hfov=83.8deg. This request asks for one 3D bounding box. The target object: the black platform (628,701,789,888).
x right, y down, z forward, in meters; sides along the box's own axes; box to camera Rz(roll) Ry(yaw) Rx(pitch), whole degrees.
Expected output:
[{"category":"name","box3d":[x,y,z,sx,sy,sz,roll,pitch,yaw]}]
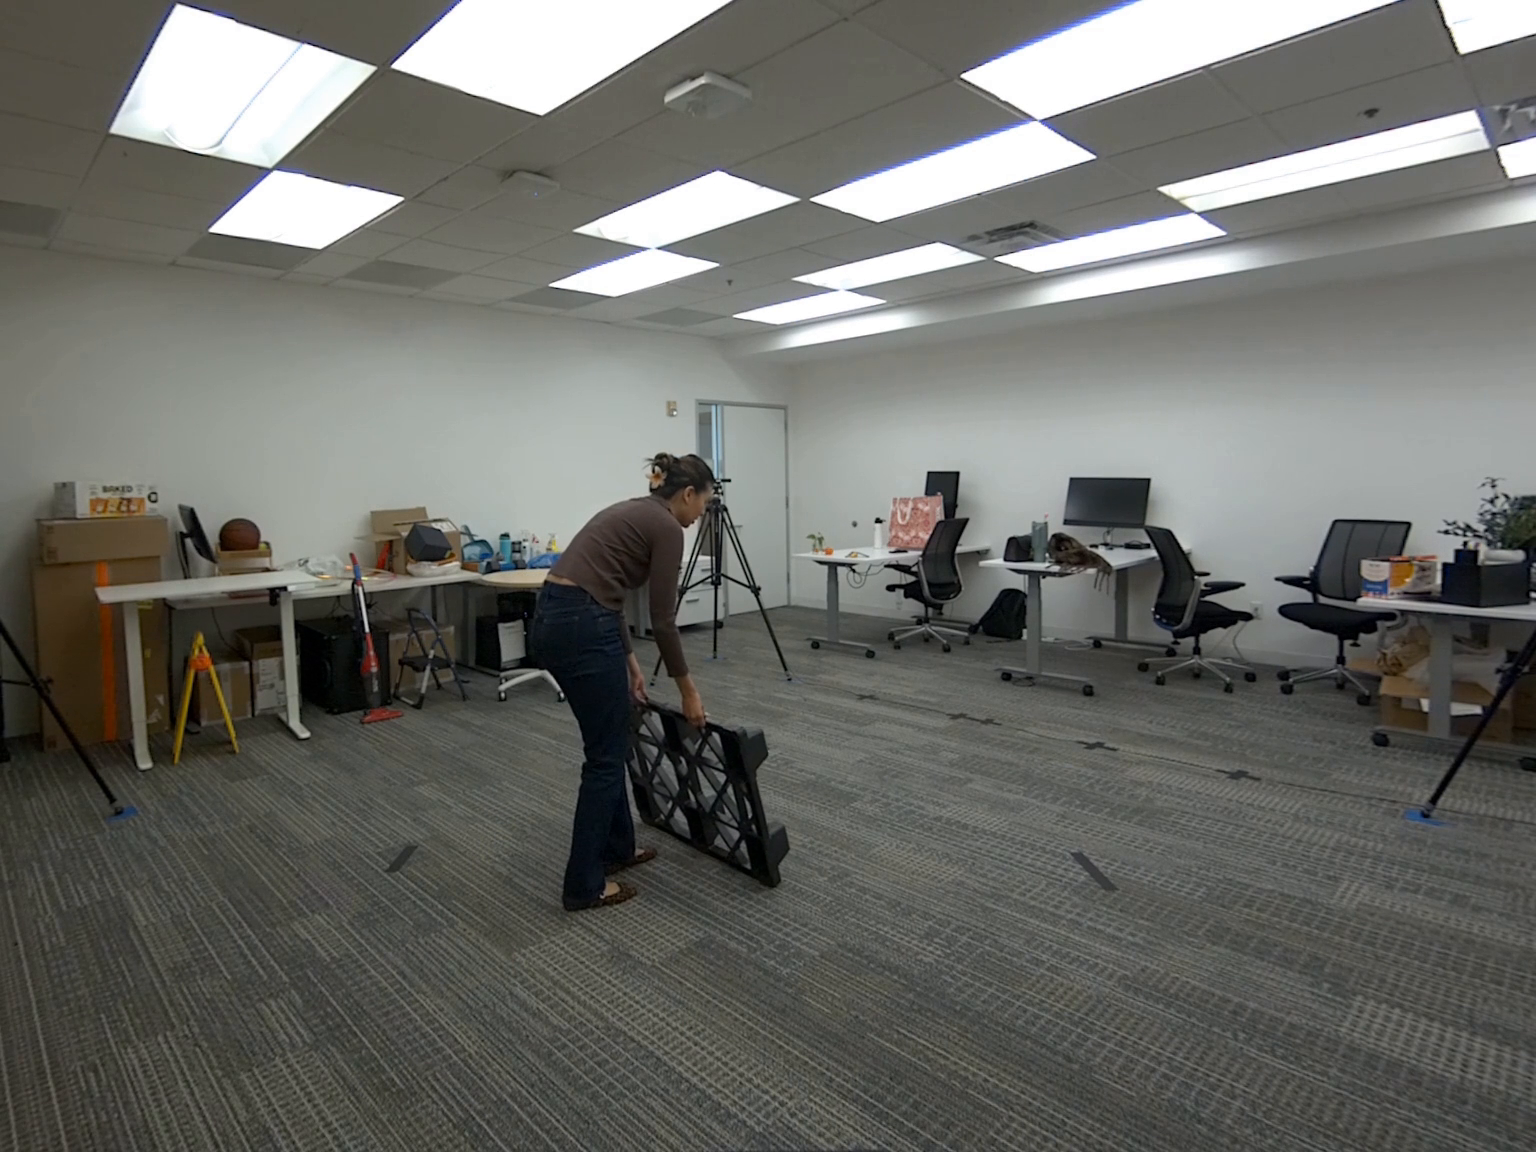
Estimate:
[{"category":"black platform","box3d":[-0.265,0.734,3.177,0.141,0.596,0.831,-23,19,-38]}]
